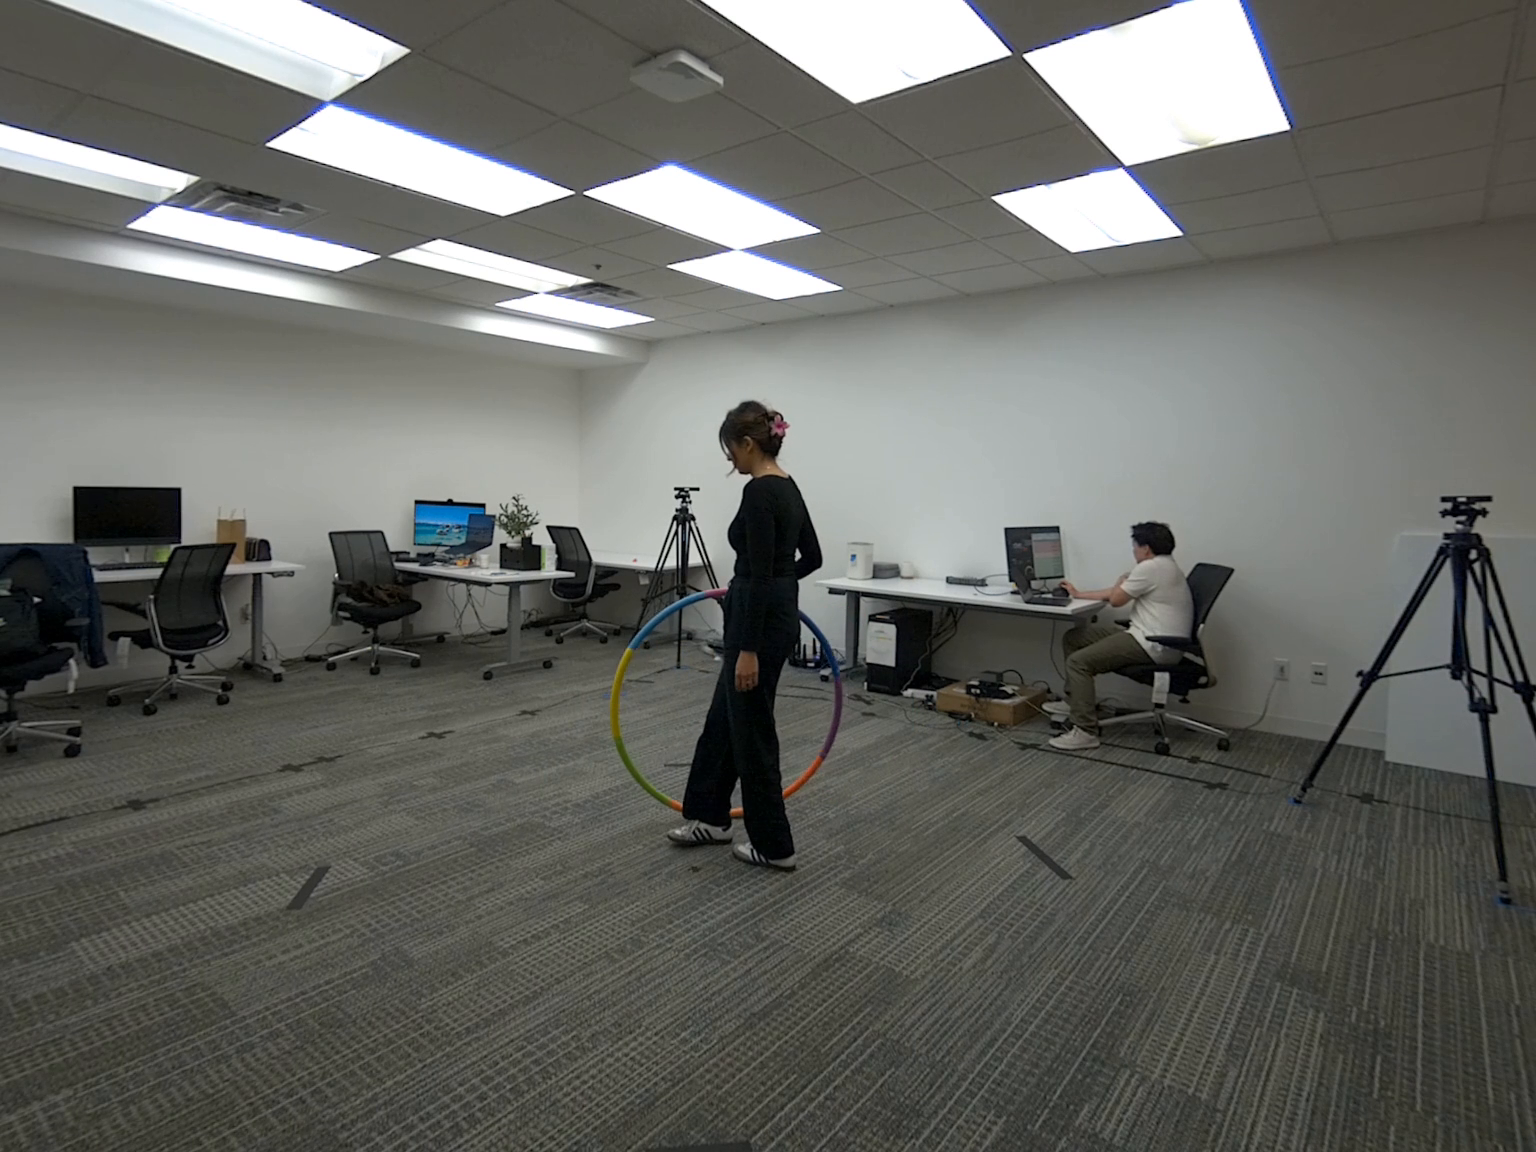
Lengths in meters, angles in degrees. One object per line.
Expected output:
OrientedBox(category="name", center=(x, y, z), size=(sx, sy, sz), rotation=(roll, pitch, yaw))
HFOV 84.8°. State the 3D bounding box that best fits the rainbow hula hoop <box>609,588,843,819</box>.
OrientedBox(category="rainbow hula hoop", center=(-0.173, 0.541, 3.543), size=(0.968, 0.973, 0.036), rotation=(0, 6, -10))
